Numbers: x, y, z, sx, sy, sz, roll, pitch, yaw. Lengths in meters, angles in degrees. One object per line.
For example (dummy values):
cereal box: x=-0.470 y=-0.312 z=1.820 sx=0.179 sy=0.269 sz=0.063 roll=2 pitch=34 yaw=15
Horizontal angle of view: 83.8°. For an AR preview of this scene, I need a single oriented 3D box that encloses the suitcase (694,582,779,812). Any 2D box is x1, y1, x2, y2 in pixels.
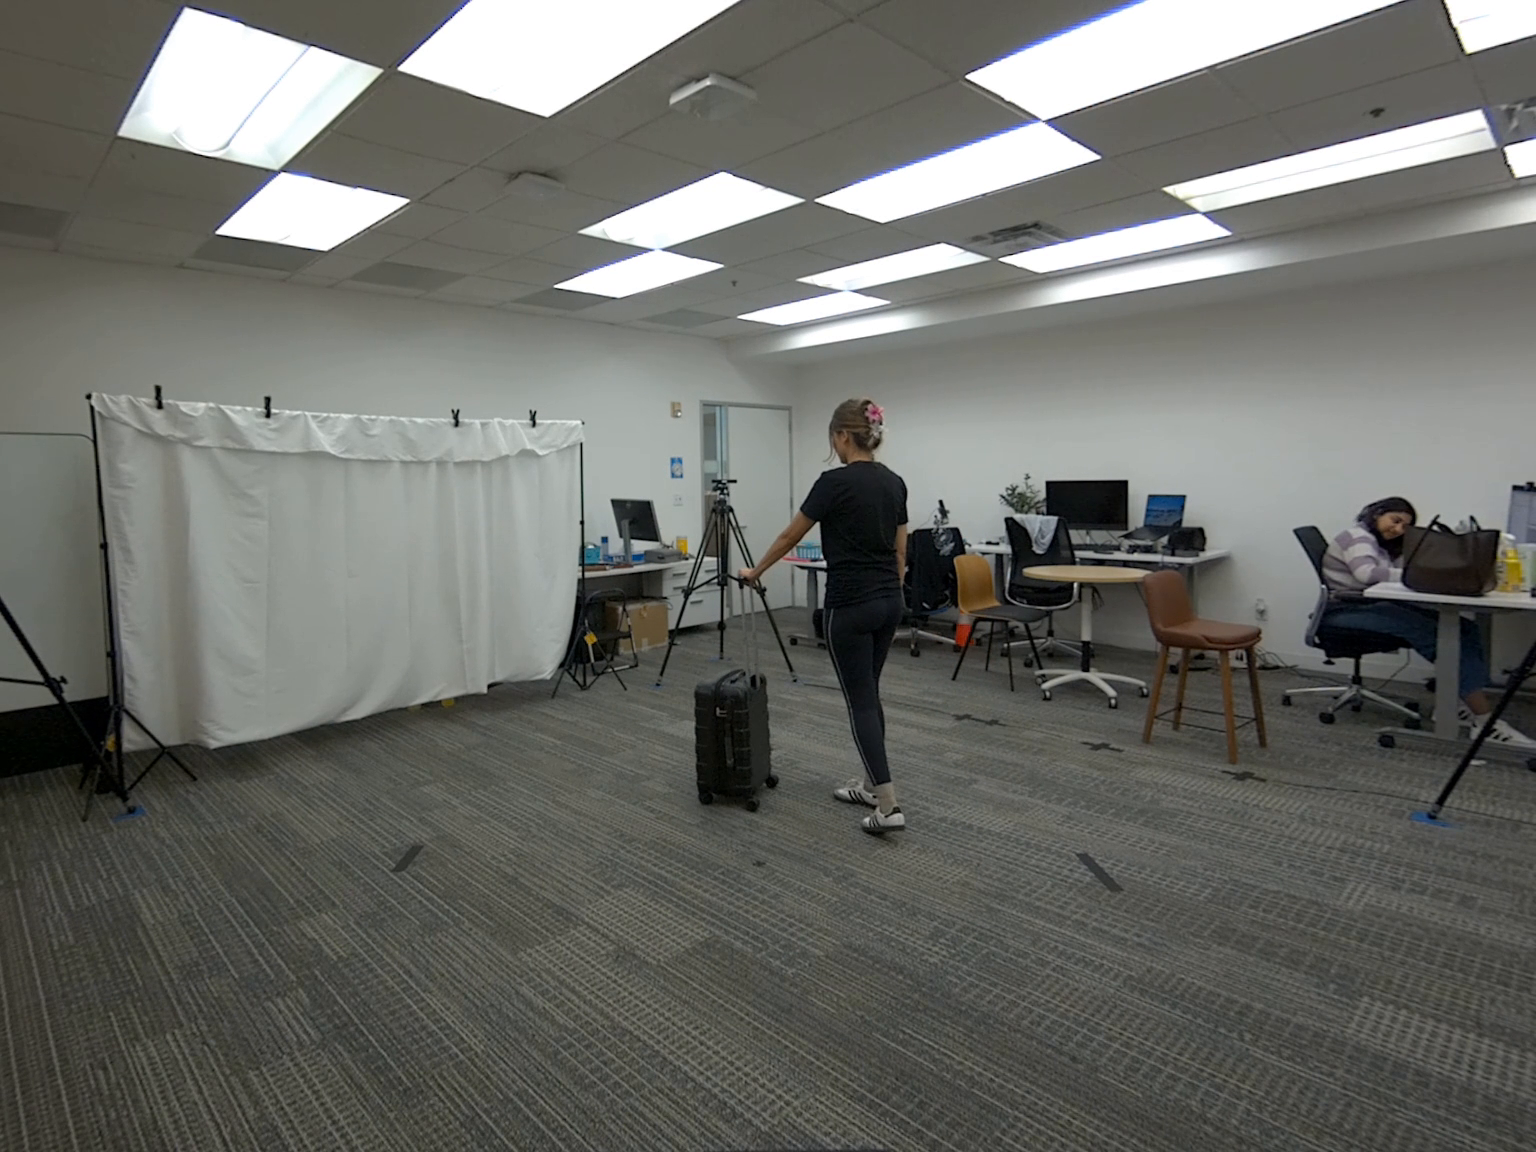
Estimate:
suitcase: x=-0.167 y=0.503 z=3.778 sx=0.261 sy=0.976 sz=0.378 roll=-4 pitch=2 yaw=19
